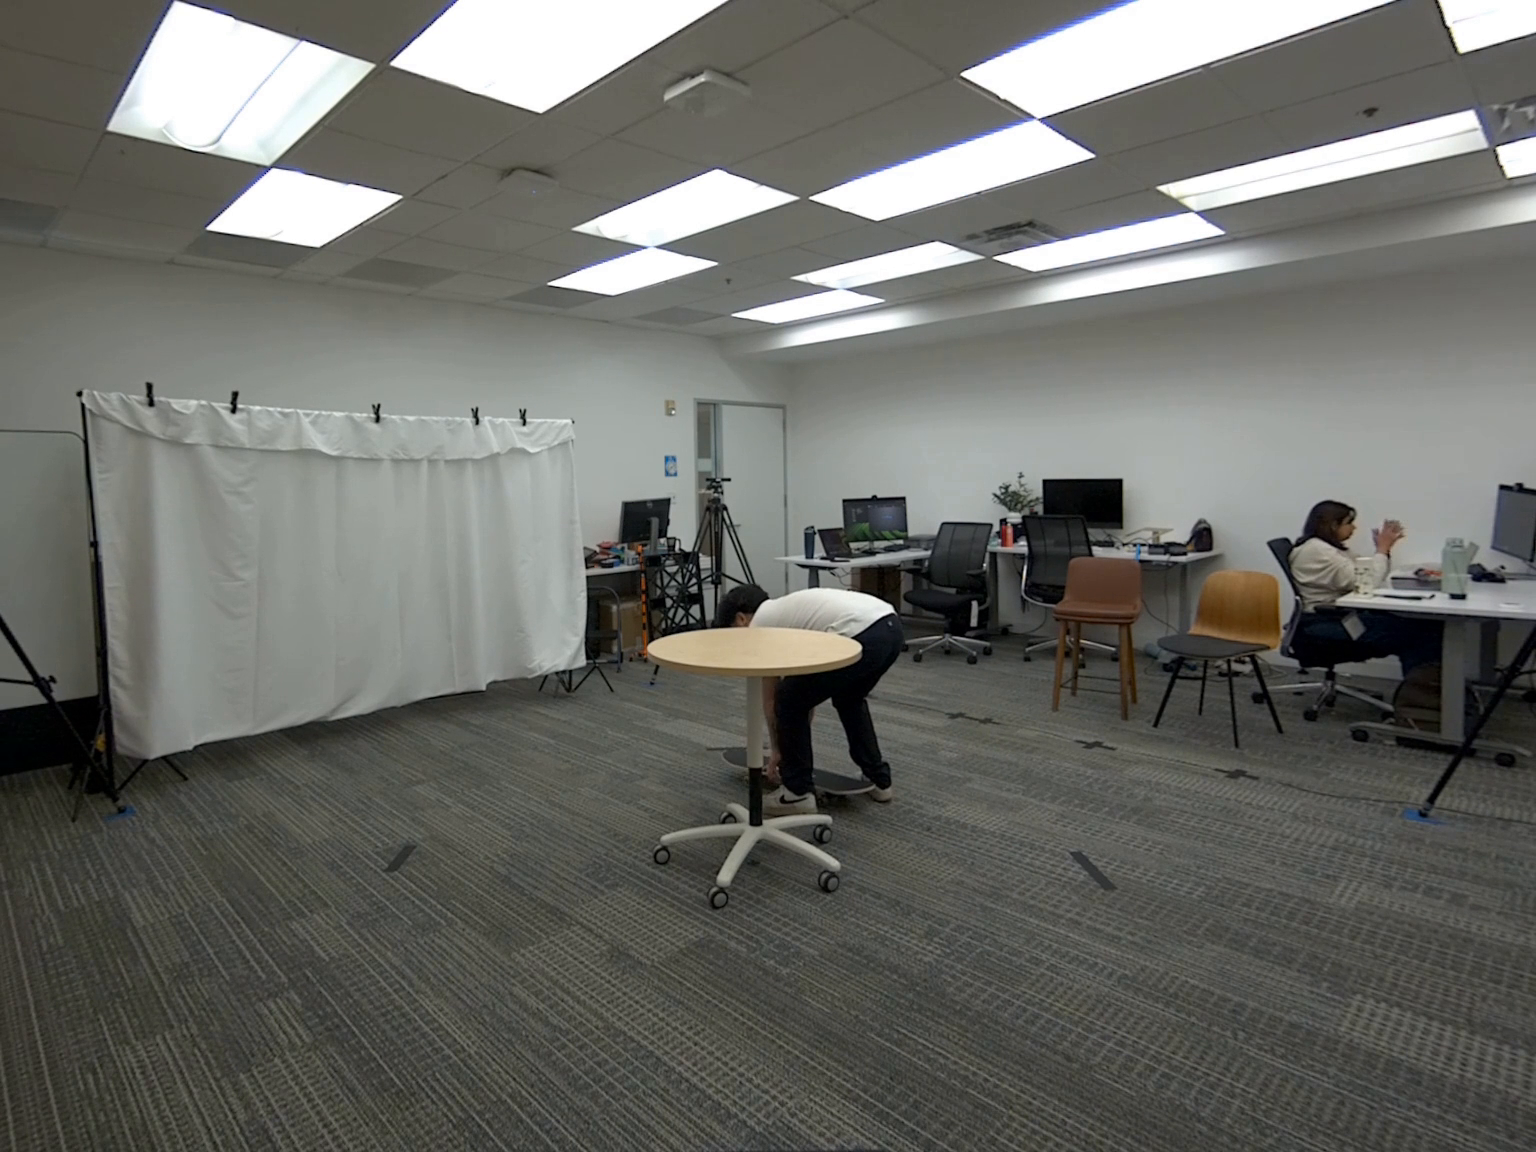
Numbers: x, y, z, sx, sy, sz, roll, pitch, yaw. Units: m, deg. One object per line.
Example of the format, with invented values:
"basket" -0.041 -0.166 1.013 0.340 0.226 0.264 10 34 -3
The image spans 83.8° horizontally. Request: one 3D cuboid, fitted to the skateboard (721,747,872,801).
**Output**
"skateboard" 0.119 0.913 3.801 0.809 0.110 0.188 5 7 39
